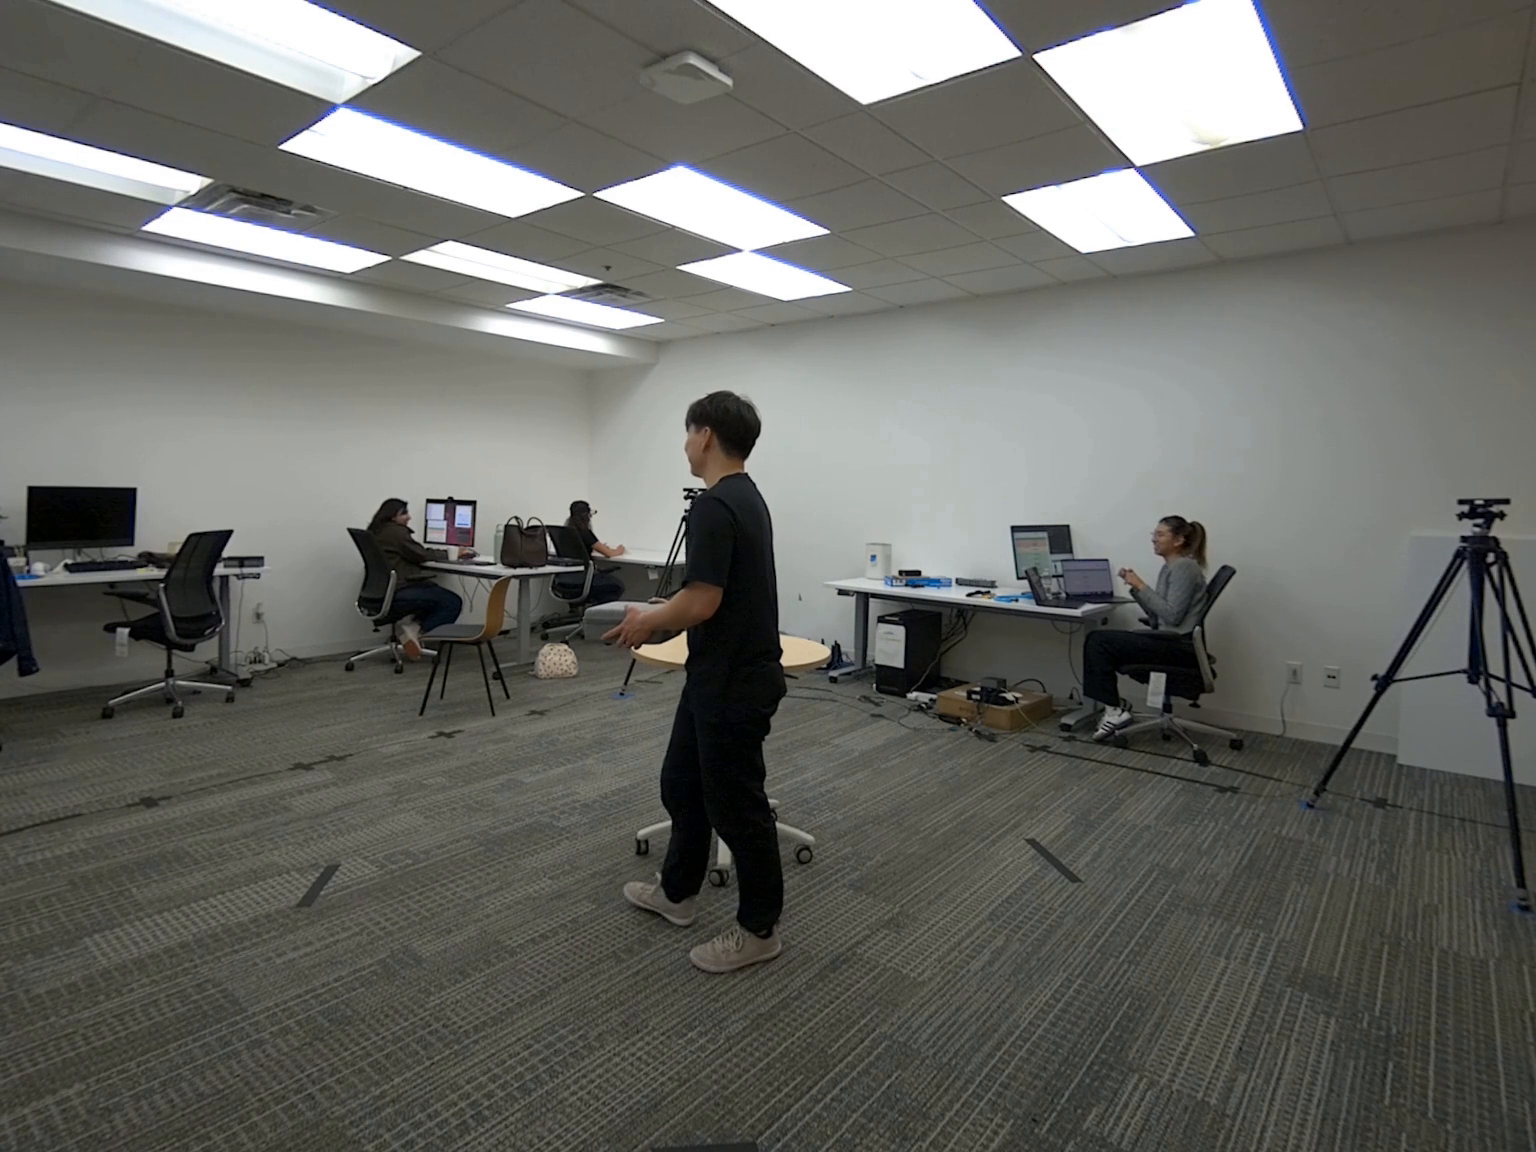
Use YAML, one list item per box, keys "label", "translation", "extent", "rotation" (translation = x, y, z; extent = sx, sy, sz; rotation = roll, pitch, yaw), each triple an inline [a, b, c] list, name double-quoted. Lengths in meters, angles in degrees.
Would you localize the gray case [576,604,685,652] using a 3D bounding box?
- label: "gray case"
  translation: [-0.409, 0.153, 2.548]
  extent: [0.263, 0.104, 0.254]
  rotation: [4, 1, 9]
